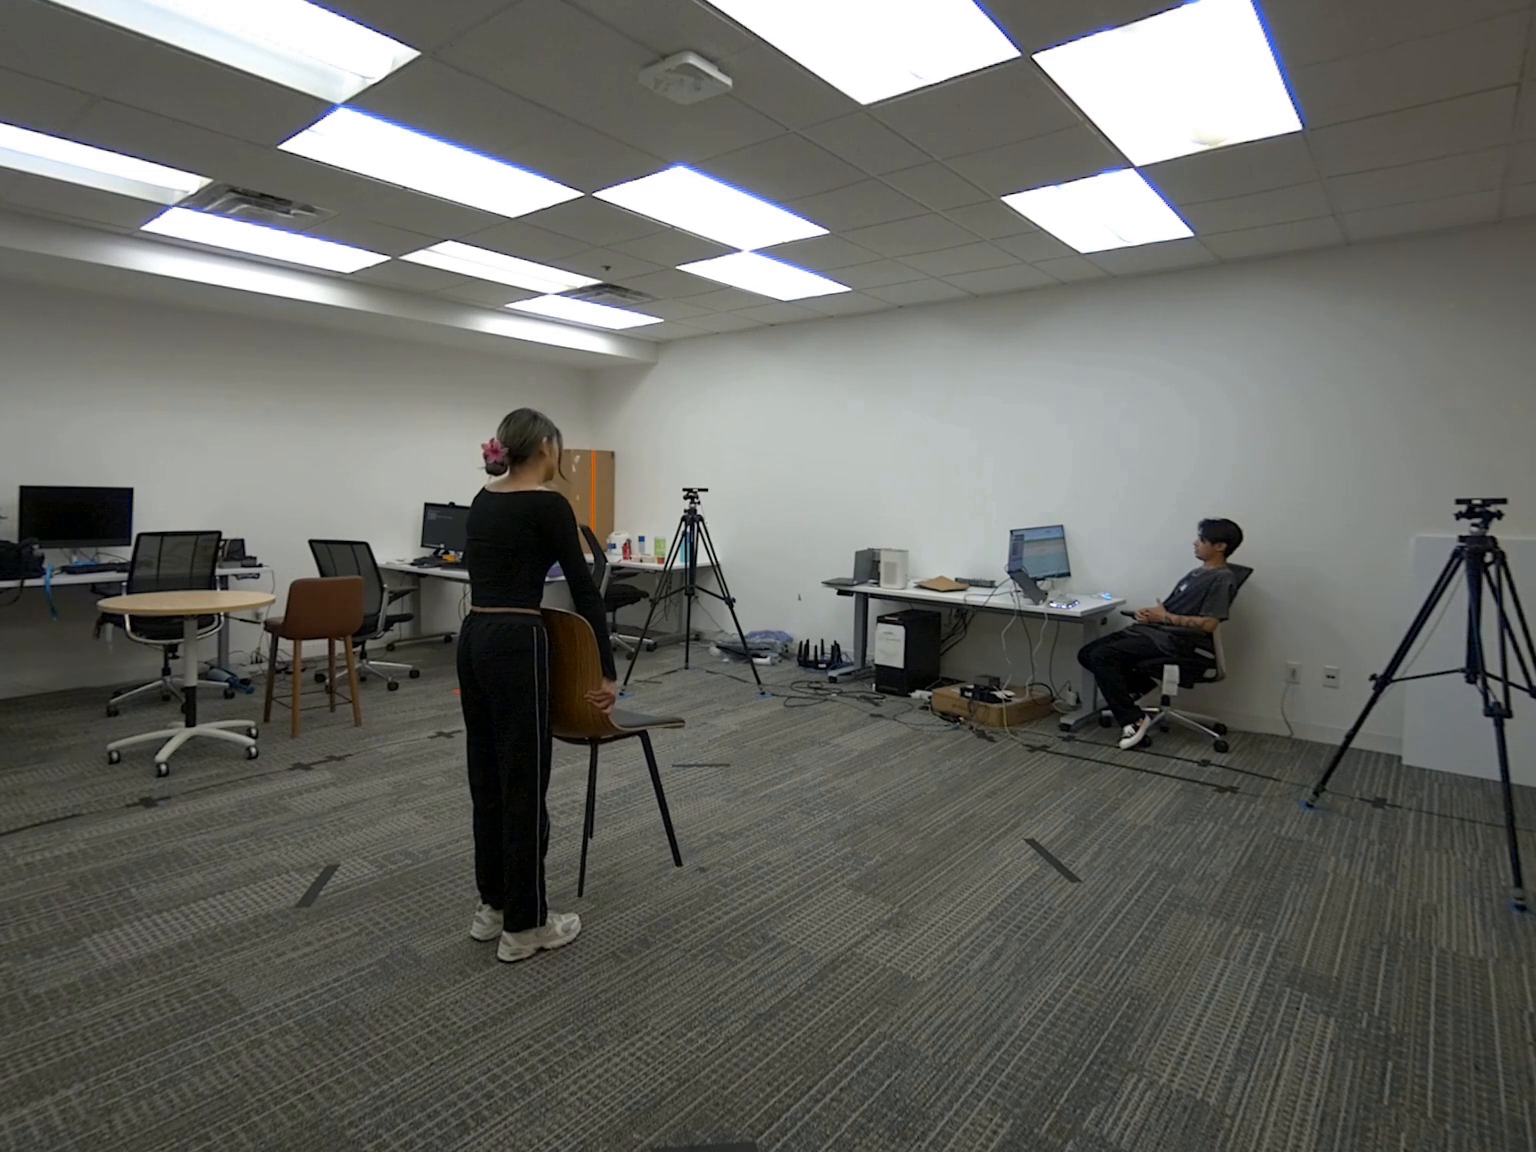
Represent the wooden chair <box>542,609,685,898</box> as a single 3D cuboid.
[{"bbox_3d":[-0.581,0.529,2.851,0.493,0.878,0.507,-1,-1,37],"label":"wooden chair"}]
